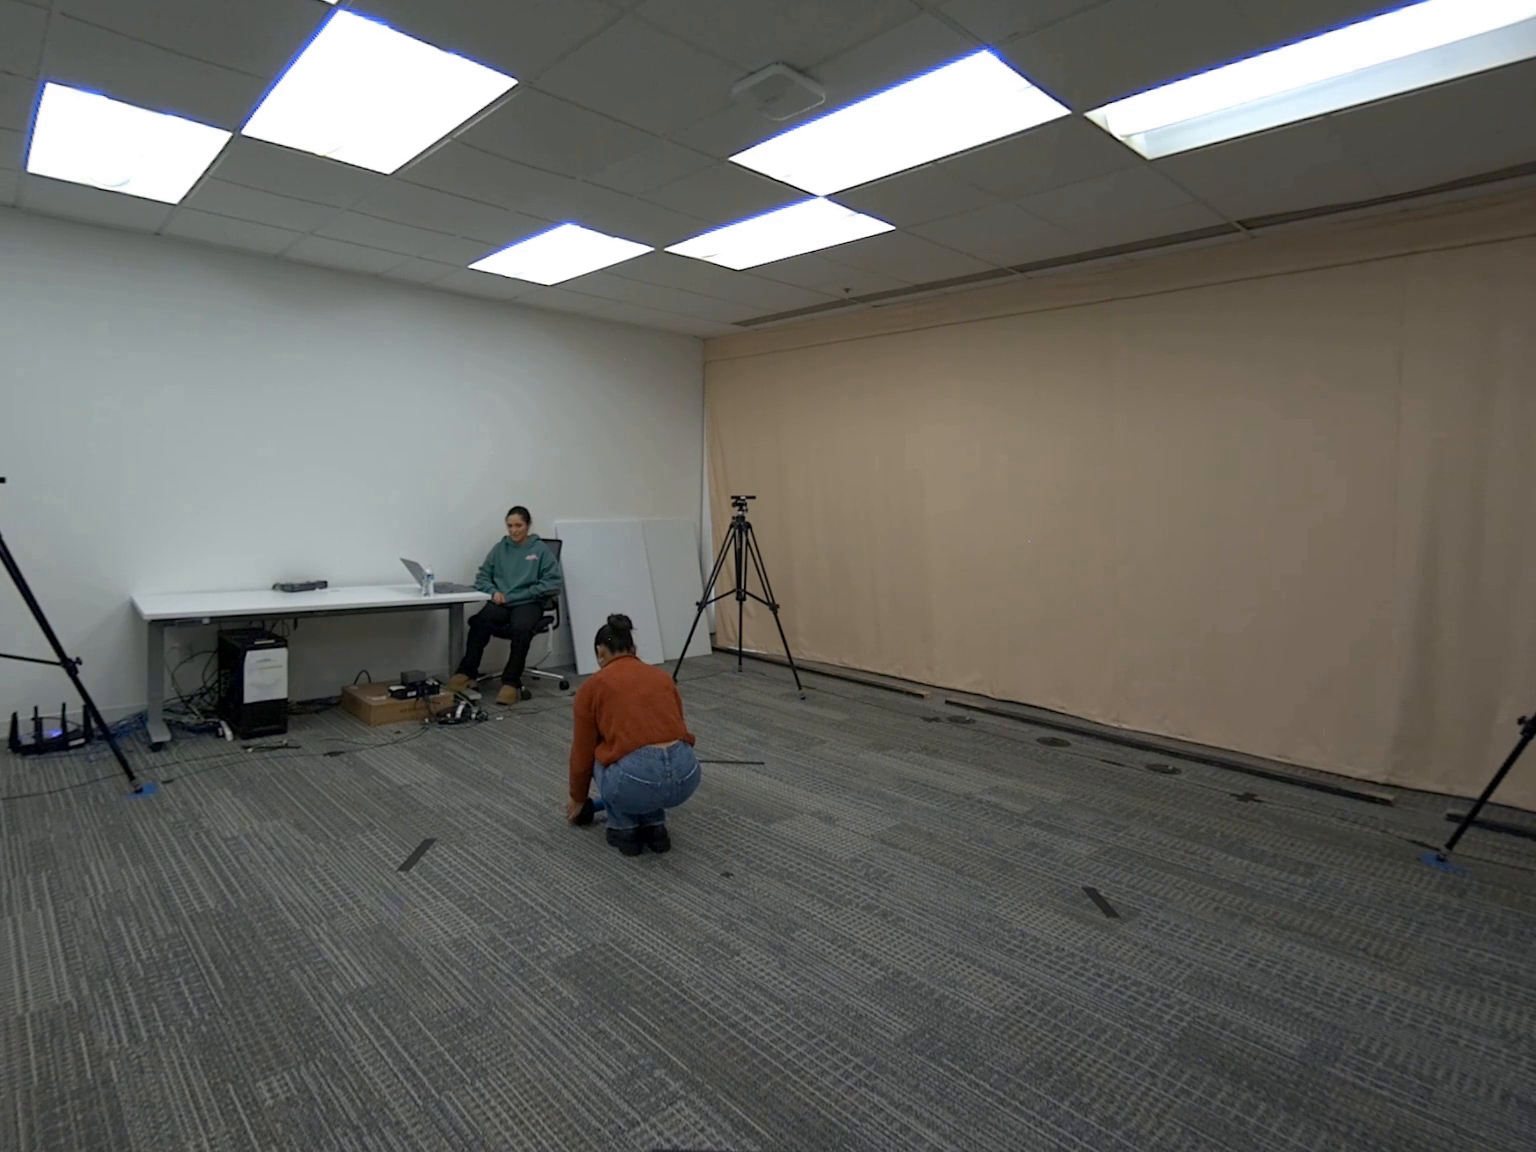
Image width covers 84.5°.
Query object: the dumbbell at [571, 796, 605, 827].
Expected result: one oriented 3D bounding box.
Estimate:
[{"bbox_3d":[-0.705,0.976,3.617,0.288,0.121,0.112,-4,33,-29],"label":"dumbbell"}]
